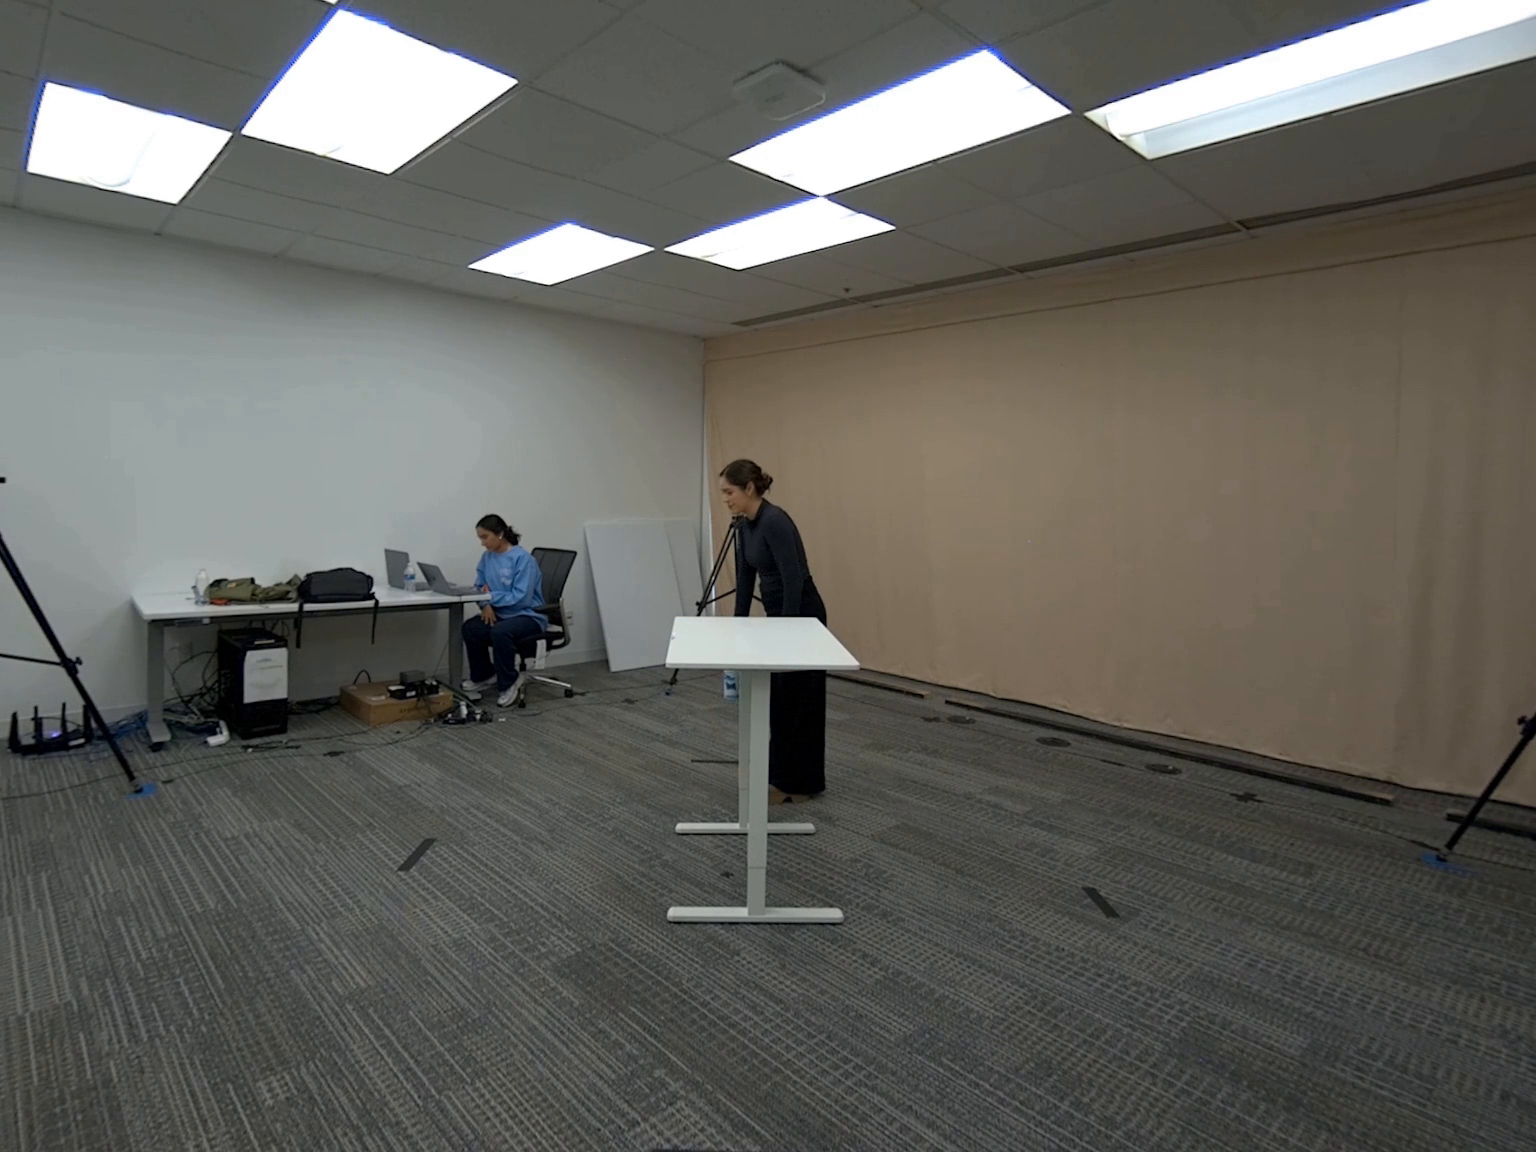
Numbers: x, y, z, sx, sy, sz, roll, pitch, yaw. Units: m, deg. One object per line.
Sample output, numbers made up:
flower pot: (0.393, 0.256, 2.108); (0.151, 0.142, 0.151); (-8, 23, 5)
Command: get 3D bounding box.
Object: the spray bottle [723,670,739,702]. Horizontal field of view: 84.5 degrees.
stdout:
spray bottle: (-0.174, 0.469, 4.129); (0.089, 0.295, 0.089); (1, 9, -18)
